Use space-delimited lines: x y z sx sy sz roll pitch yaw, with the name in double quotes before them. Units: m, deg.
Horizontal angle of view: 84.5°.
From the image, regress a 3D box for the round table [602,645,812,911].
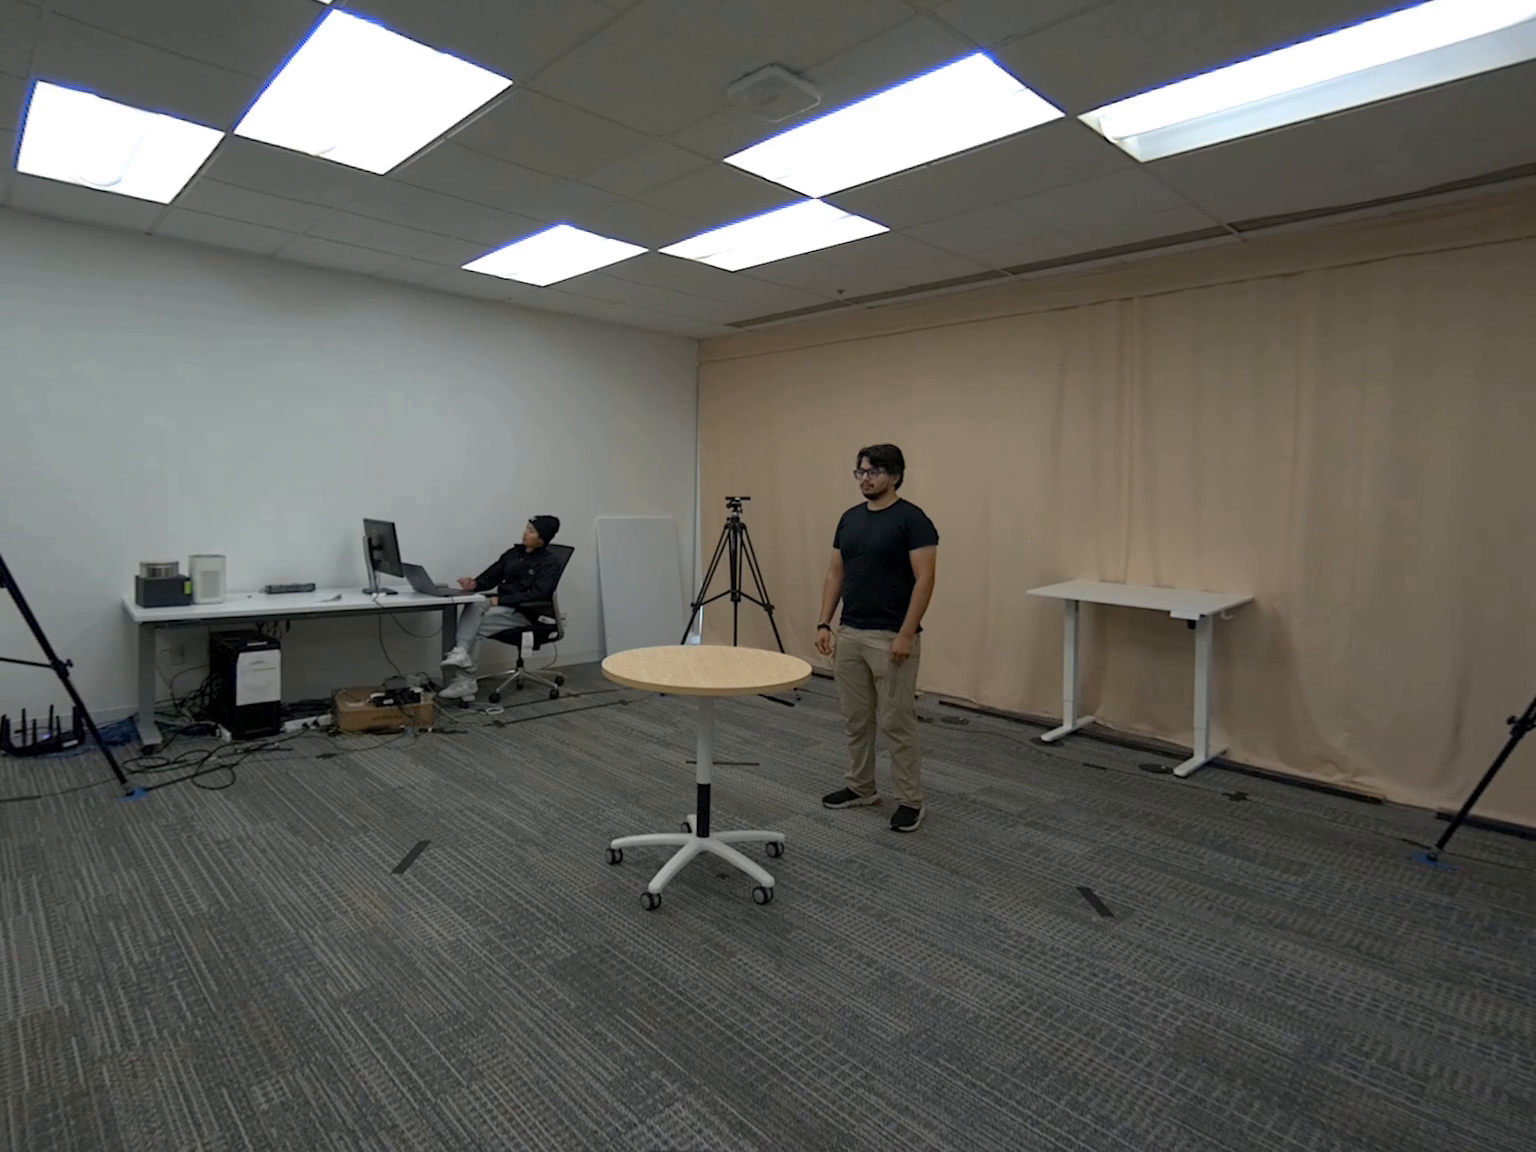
"round table" -0.237 0.713 3.093 0.784 0.784 0.788 1 4 -1
